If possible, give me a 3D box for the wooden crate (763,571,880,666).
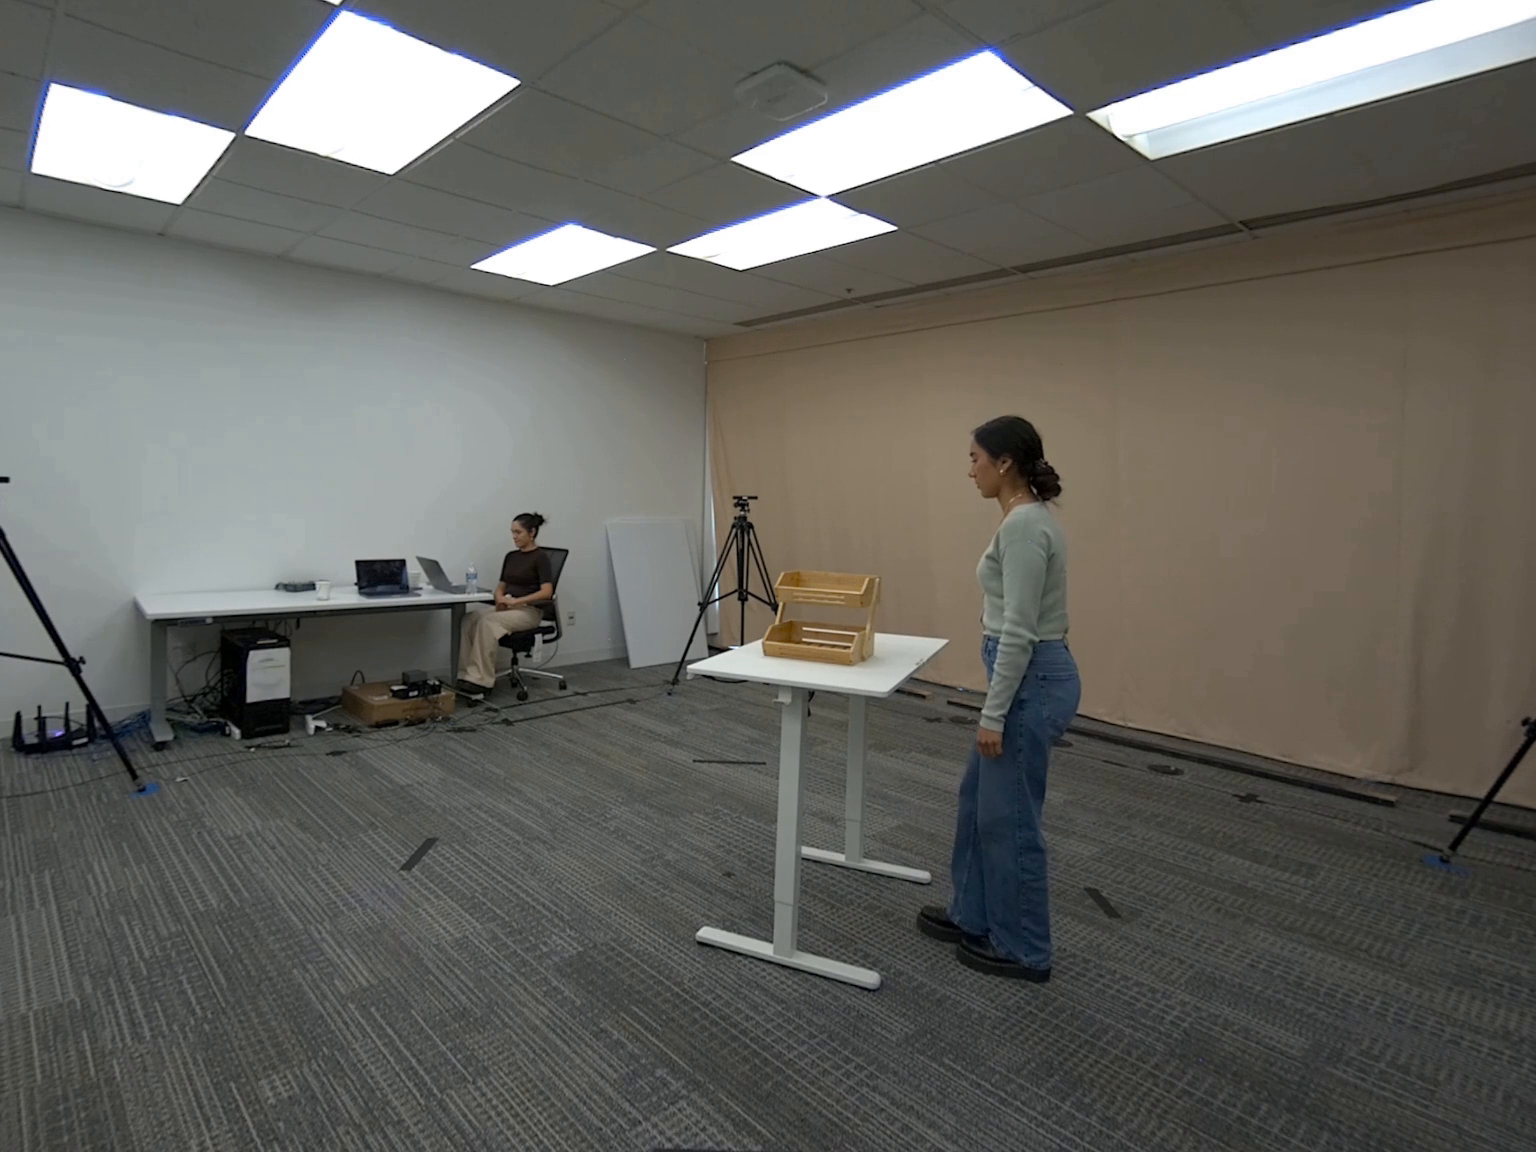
[{"bbox_3d":[0.167,0.124,2.755,0.330,0.273,0.297,3,4,23],"label":"wooden crate"}]
